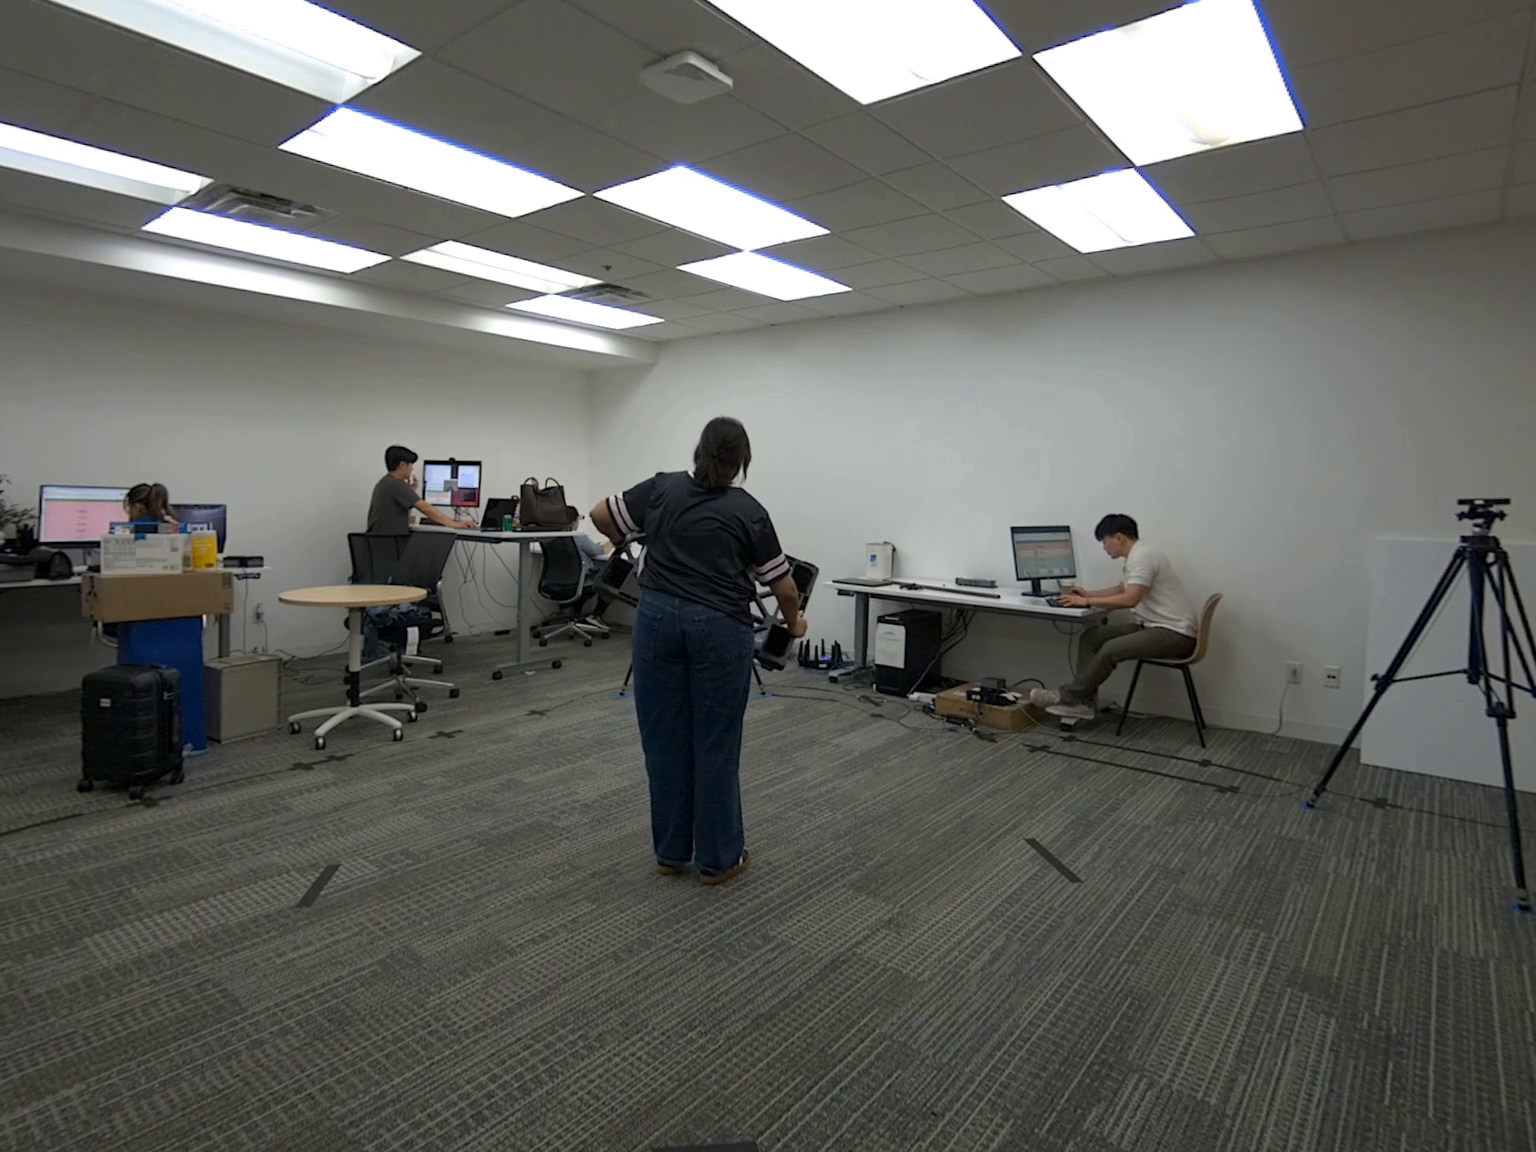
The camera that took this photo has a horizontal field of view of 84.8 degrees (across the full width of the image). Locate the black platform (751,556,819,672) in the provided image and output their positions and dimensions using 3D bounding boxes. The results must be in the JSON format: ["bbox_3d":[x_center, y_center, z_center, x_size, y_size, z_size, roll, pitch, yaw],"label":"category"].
[{"bbox_3d":[-0.246,0.036,3.469,0.810,0.141,0.612,22,42,3],"label":"black platform"}]
